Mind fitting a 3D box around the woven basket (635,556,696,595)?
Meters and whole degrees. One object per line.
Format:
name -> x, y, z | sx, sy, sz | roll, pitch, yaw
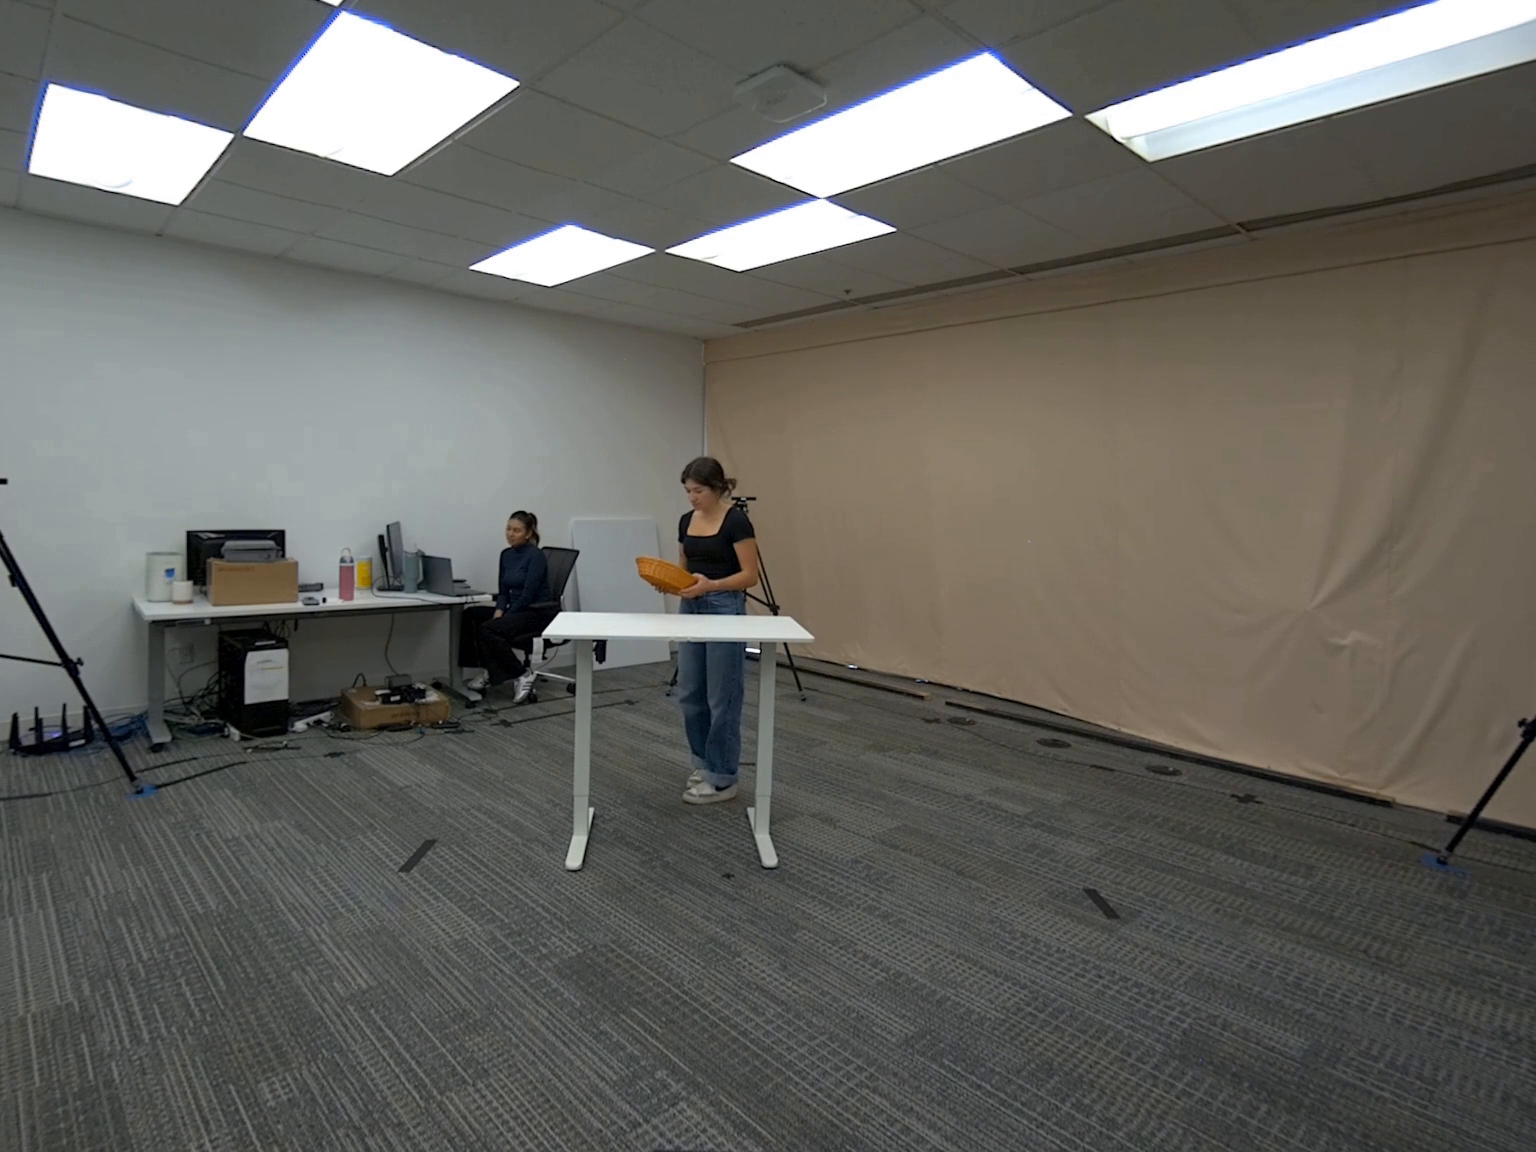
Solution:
woven basket -> -0.453, 0.013, 3.768 | 0.341, 0.074, 0.257 | 27, -19, -33
